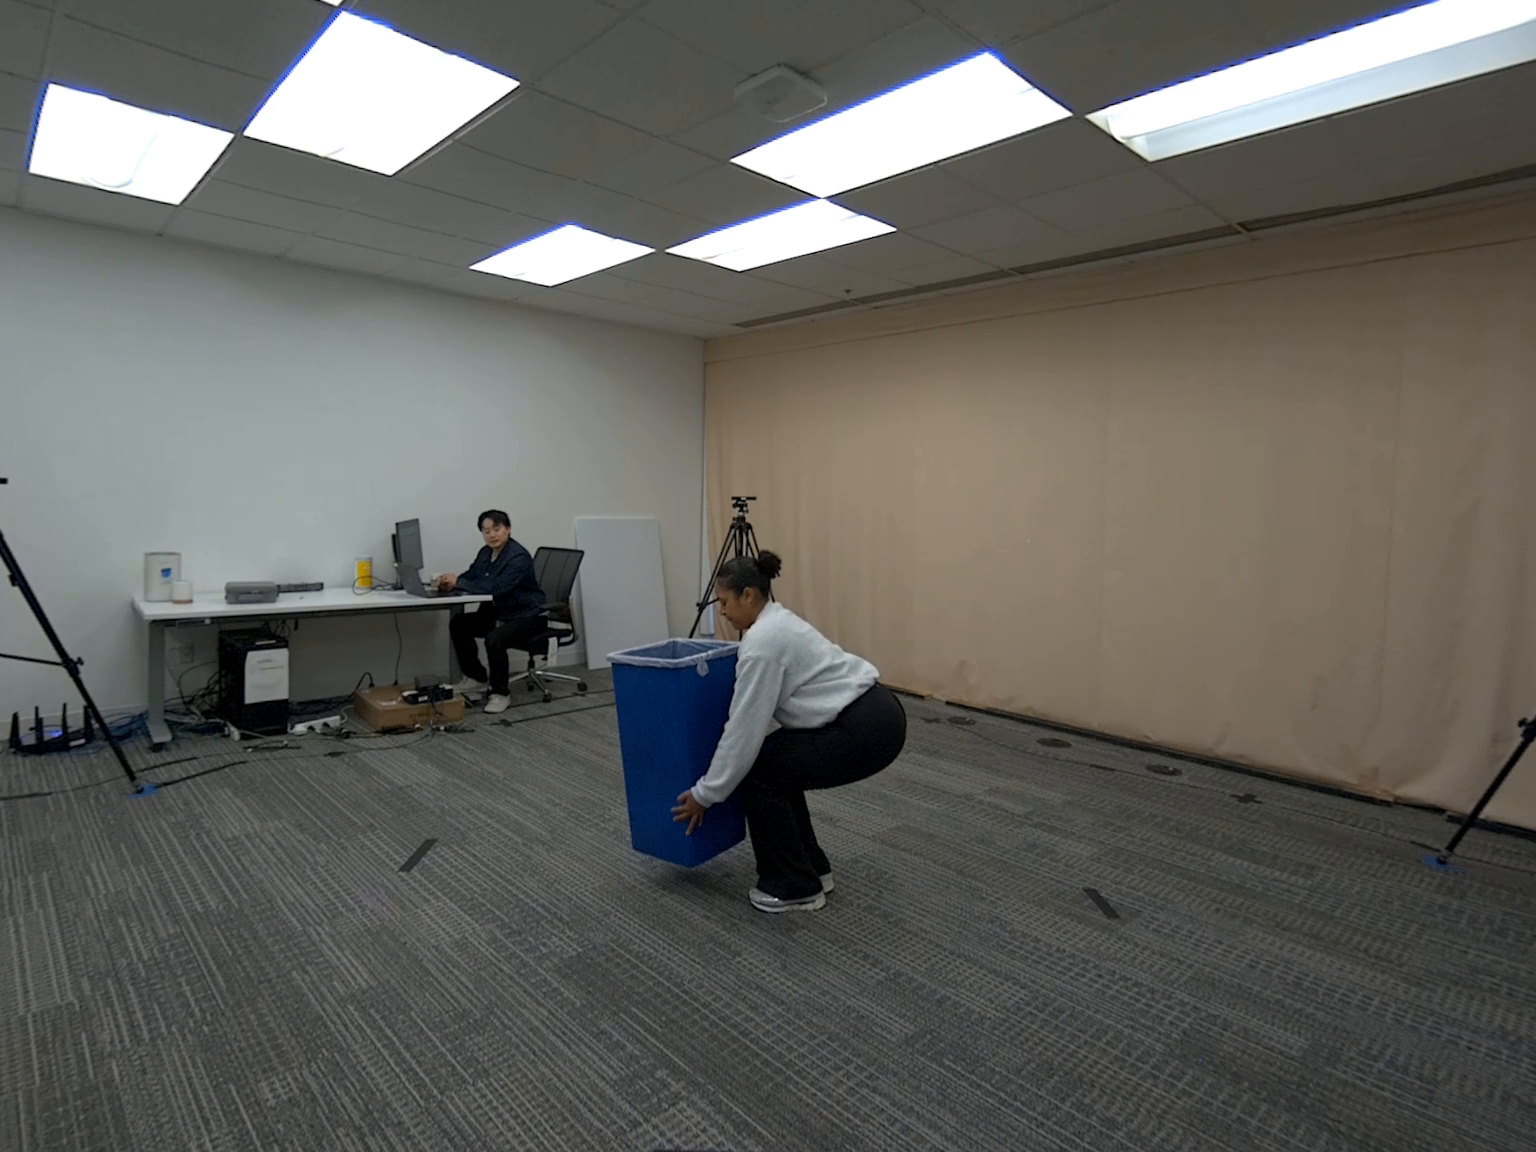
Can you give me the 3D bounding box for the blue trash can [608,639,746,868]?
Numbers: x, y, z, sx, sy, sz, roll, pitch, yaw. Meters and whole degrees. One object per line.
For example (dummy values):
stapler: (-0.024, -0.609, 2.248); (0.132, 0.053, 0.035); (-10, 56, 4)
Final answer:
blue trash can: (-0.310, 0.605, 3.034); (0.387, 0.712, 0.366); (-1, 4, 39)
